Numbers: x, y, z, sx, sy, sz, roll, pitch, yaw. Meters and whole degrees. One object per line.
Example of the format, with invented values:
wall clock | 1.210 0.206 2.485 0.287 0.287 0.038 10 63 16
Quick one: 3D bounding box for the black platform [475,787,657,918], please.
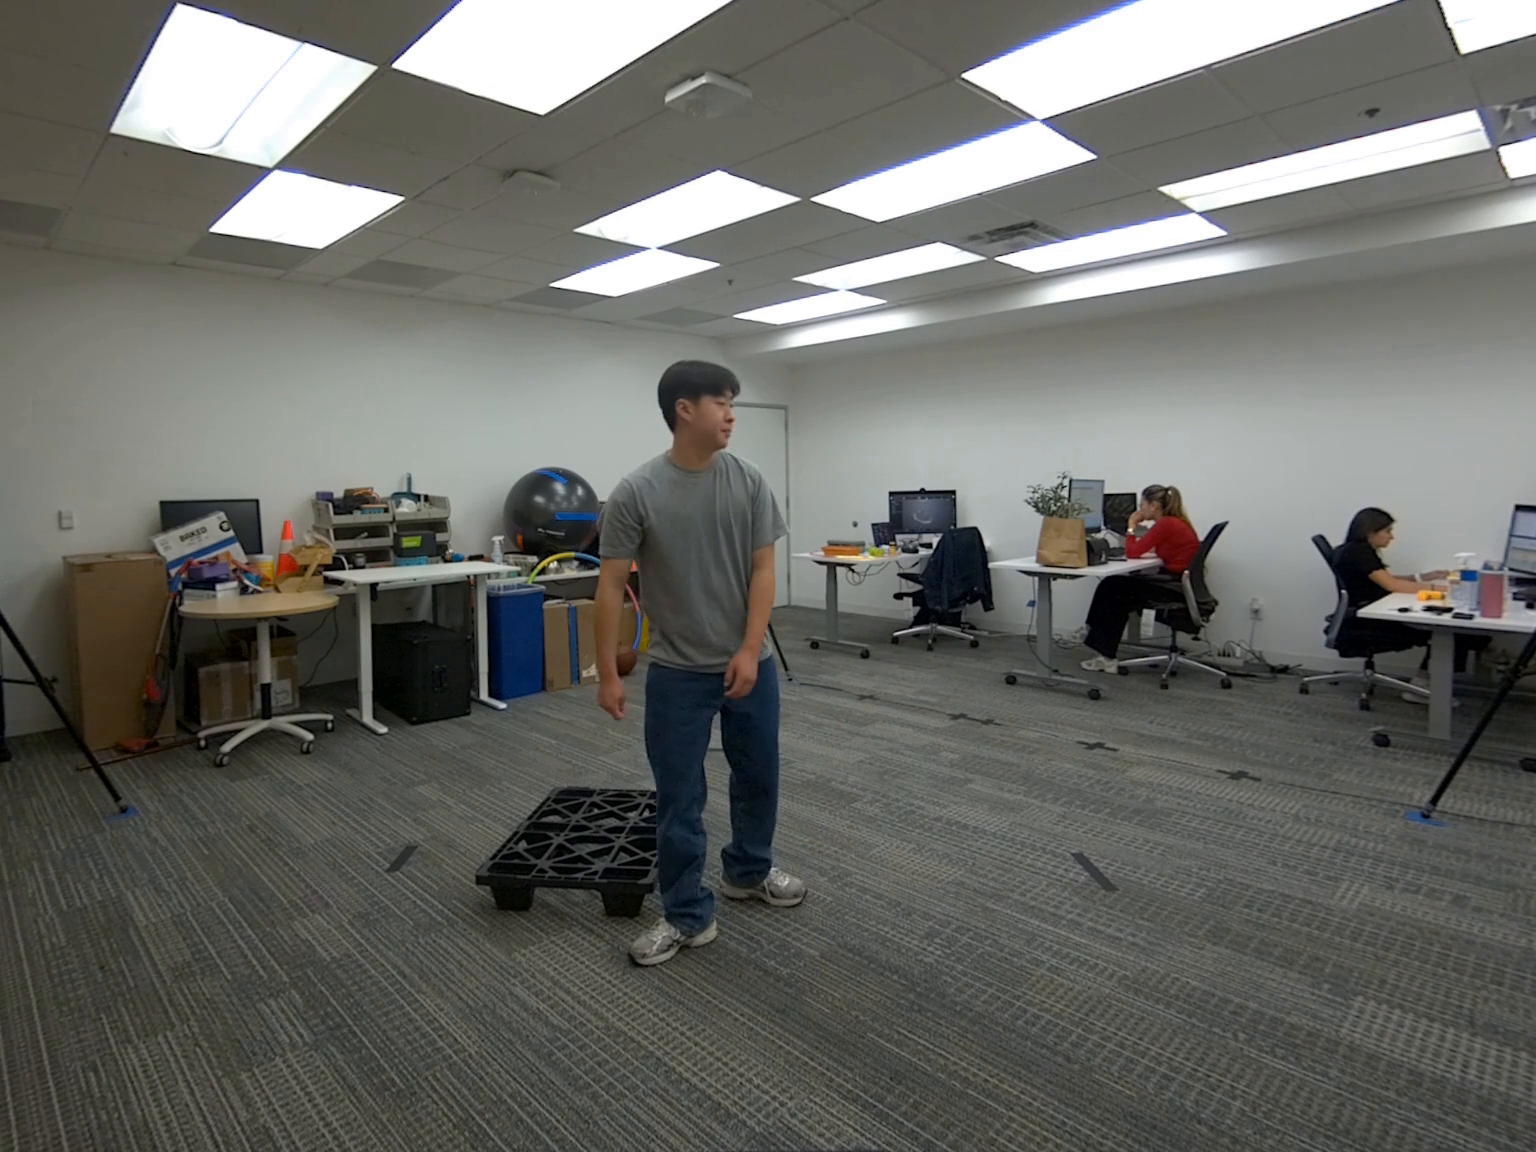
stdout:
black platform | -0.613 0.981 3.127 0.610 0.142 0.803 0 7 7
